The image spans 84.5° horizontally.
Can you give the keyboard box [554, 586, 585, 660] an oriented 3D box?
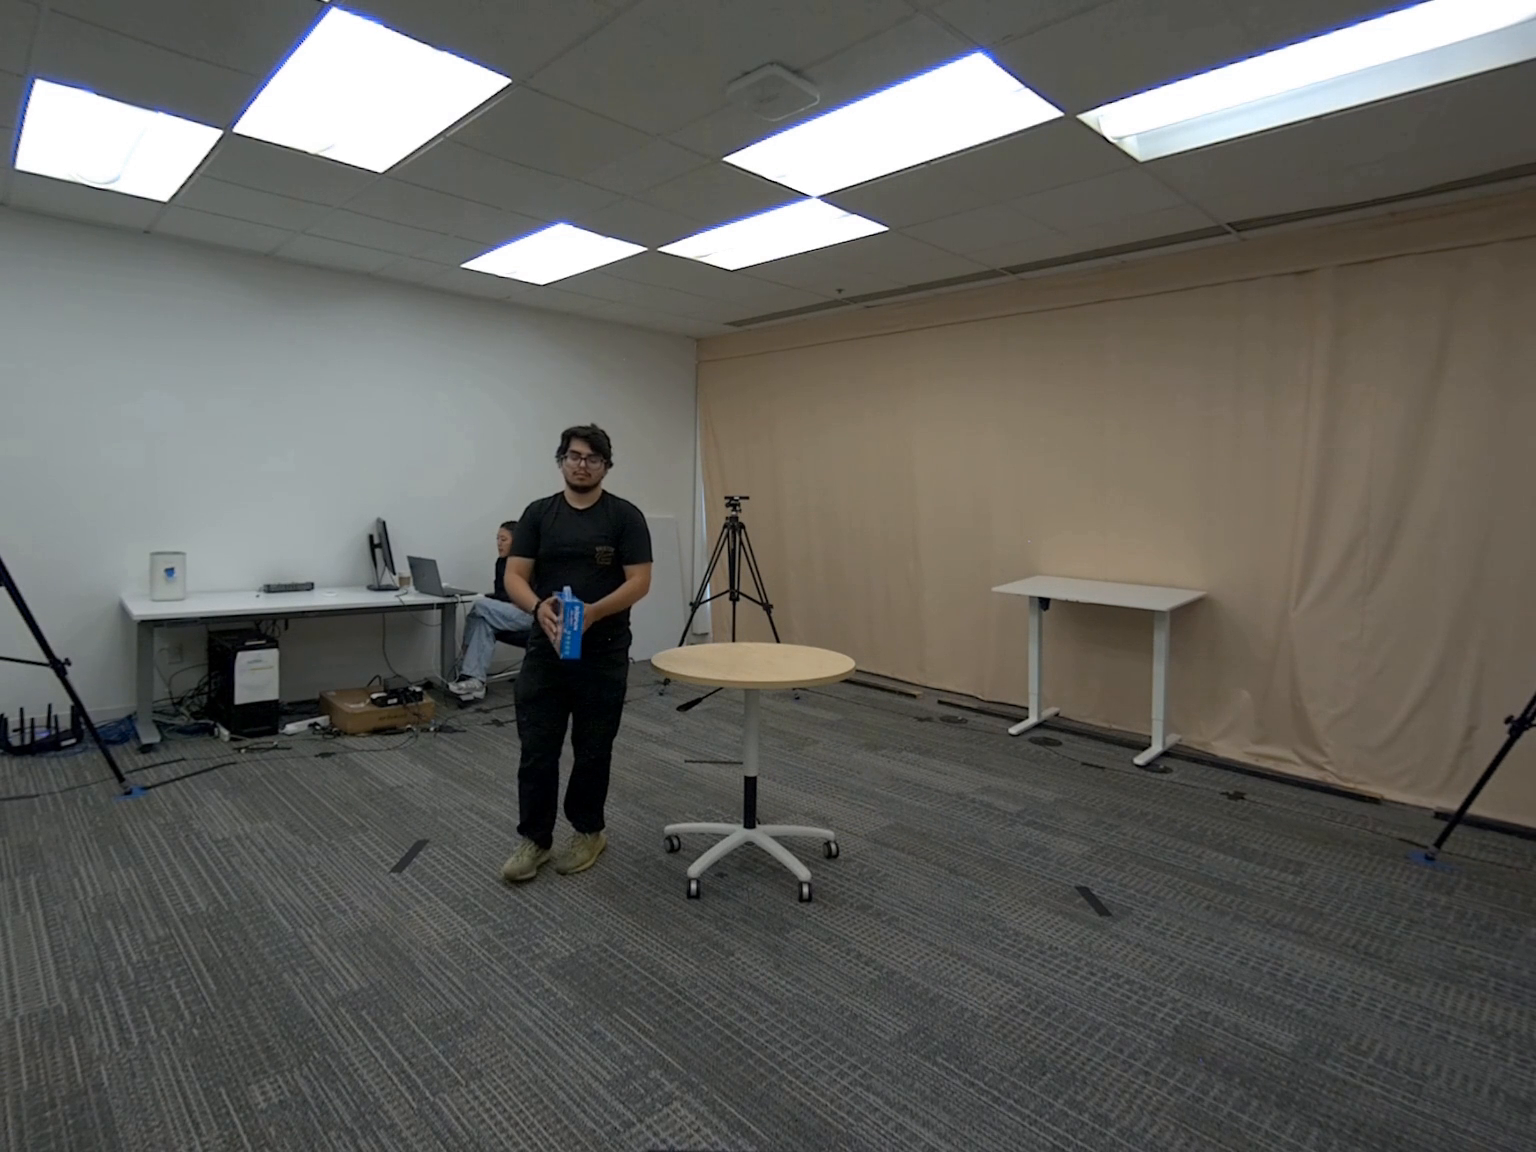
[{"bbox_3d":[-0.659,0.155,2.714,0.058,0.176,0.443,2,1,-20],"label":"keyboard box"}]
